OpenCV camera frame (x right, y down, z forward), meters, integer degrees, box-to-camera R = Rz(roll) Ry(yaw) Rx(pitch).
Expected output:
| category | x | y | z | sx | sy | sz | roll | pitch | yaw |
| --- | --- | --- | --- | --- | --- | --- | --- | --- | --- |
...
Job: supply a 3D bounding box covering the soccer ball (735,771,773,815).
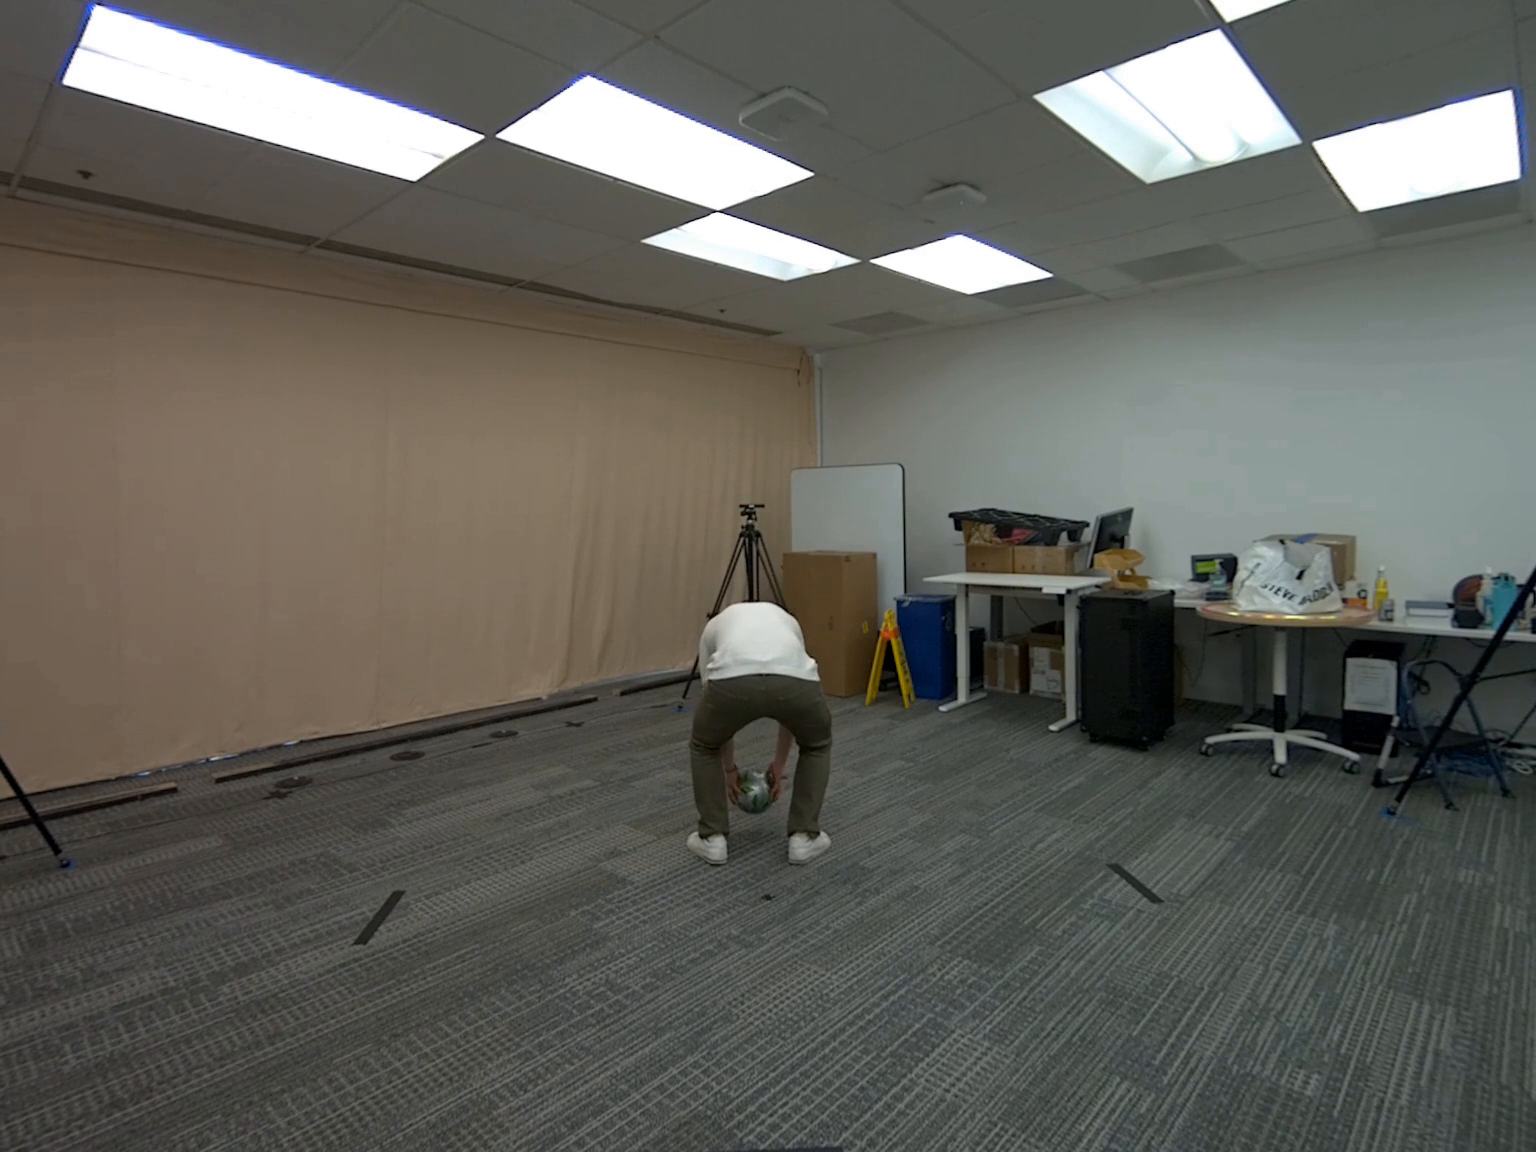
| category | x | y | z | sx | sy | sz | roll | pitch | yaw |
| --- | --- | --- | --- | --- | --- | --- | --- | --- | --- |
| soccer ball | -0.062 | 0.899 | 3.585 | 0.187 | 0.187 | 0.188 | -1 | 4 | -2 |
